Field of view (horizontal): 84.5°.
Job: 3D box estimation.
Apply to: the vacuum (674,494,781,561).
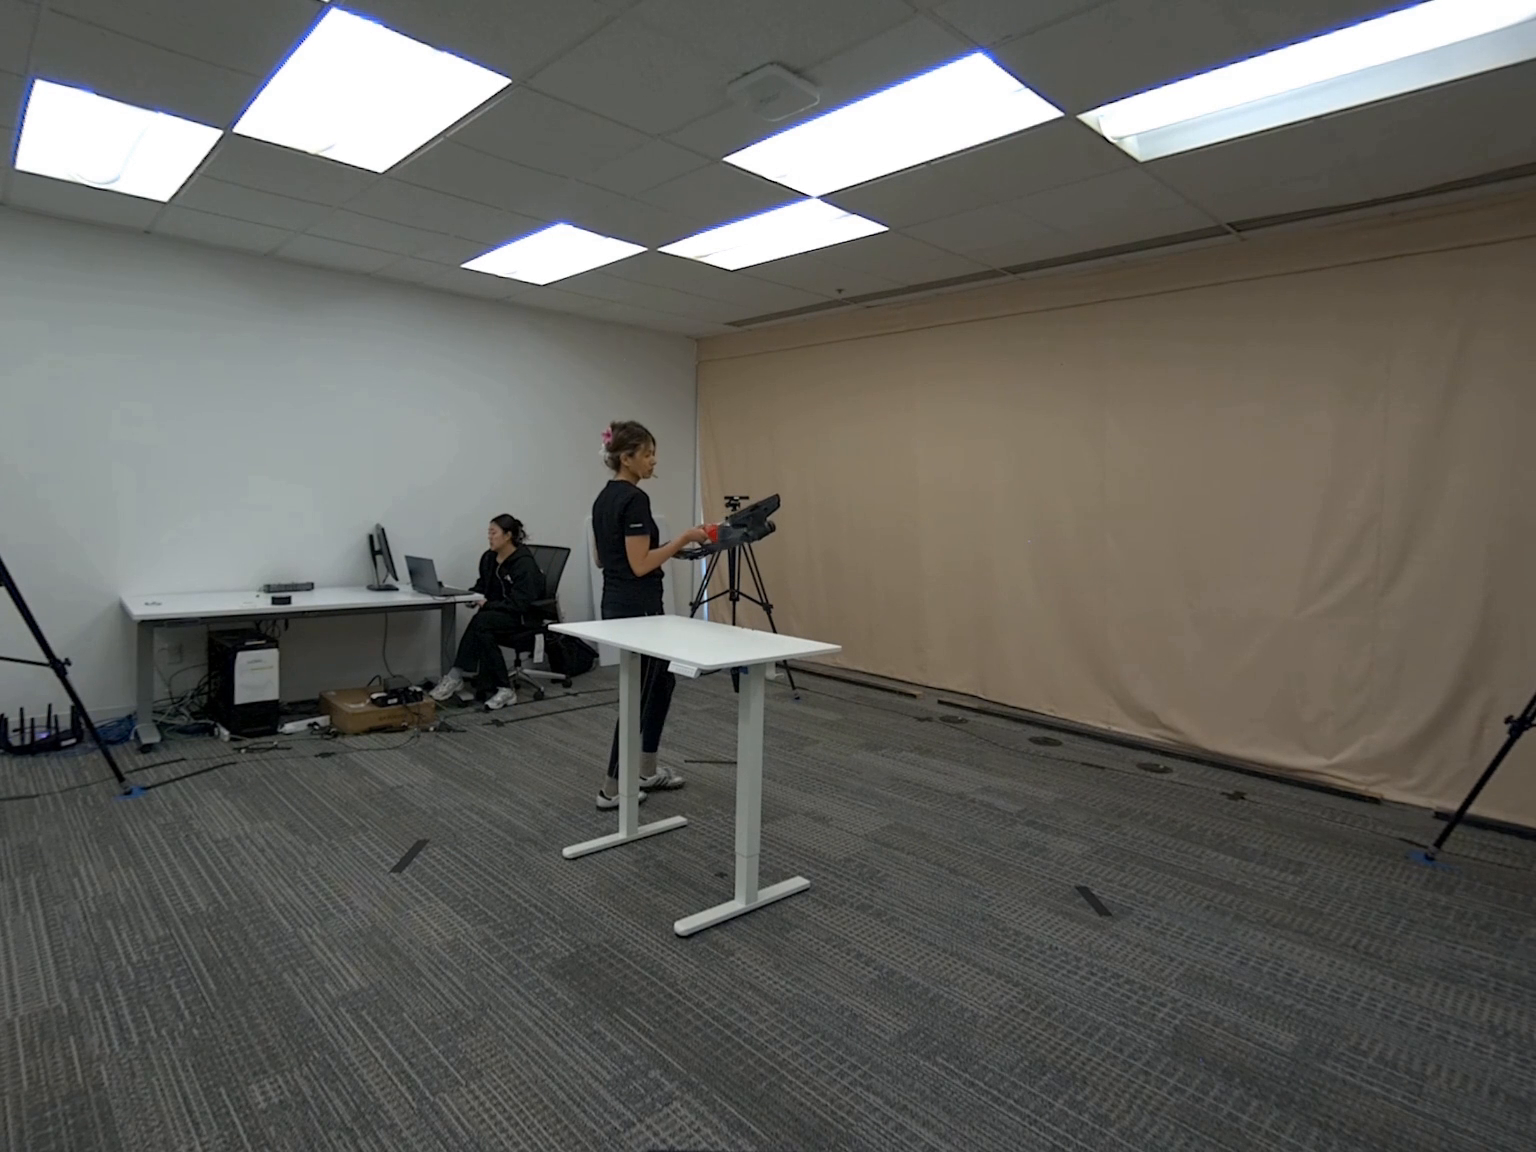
[{"bbox_3d":[-0.313,-0.134,3.739,0.250,0.143,1.063,-27,5,-32],"label":"vacuum"}]
